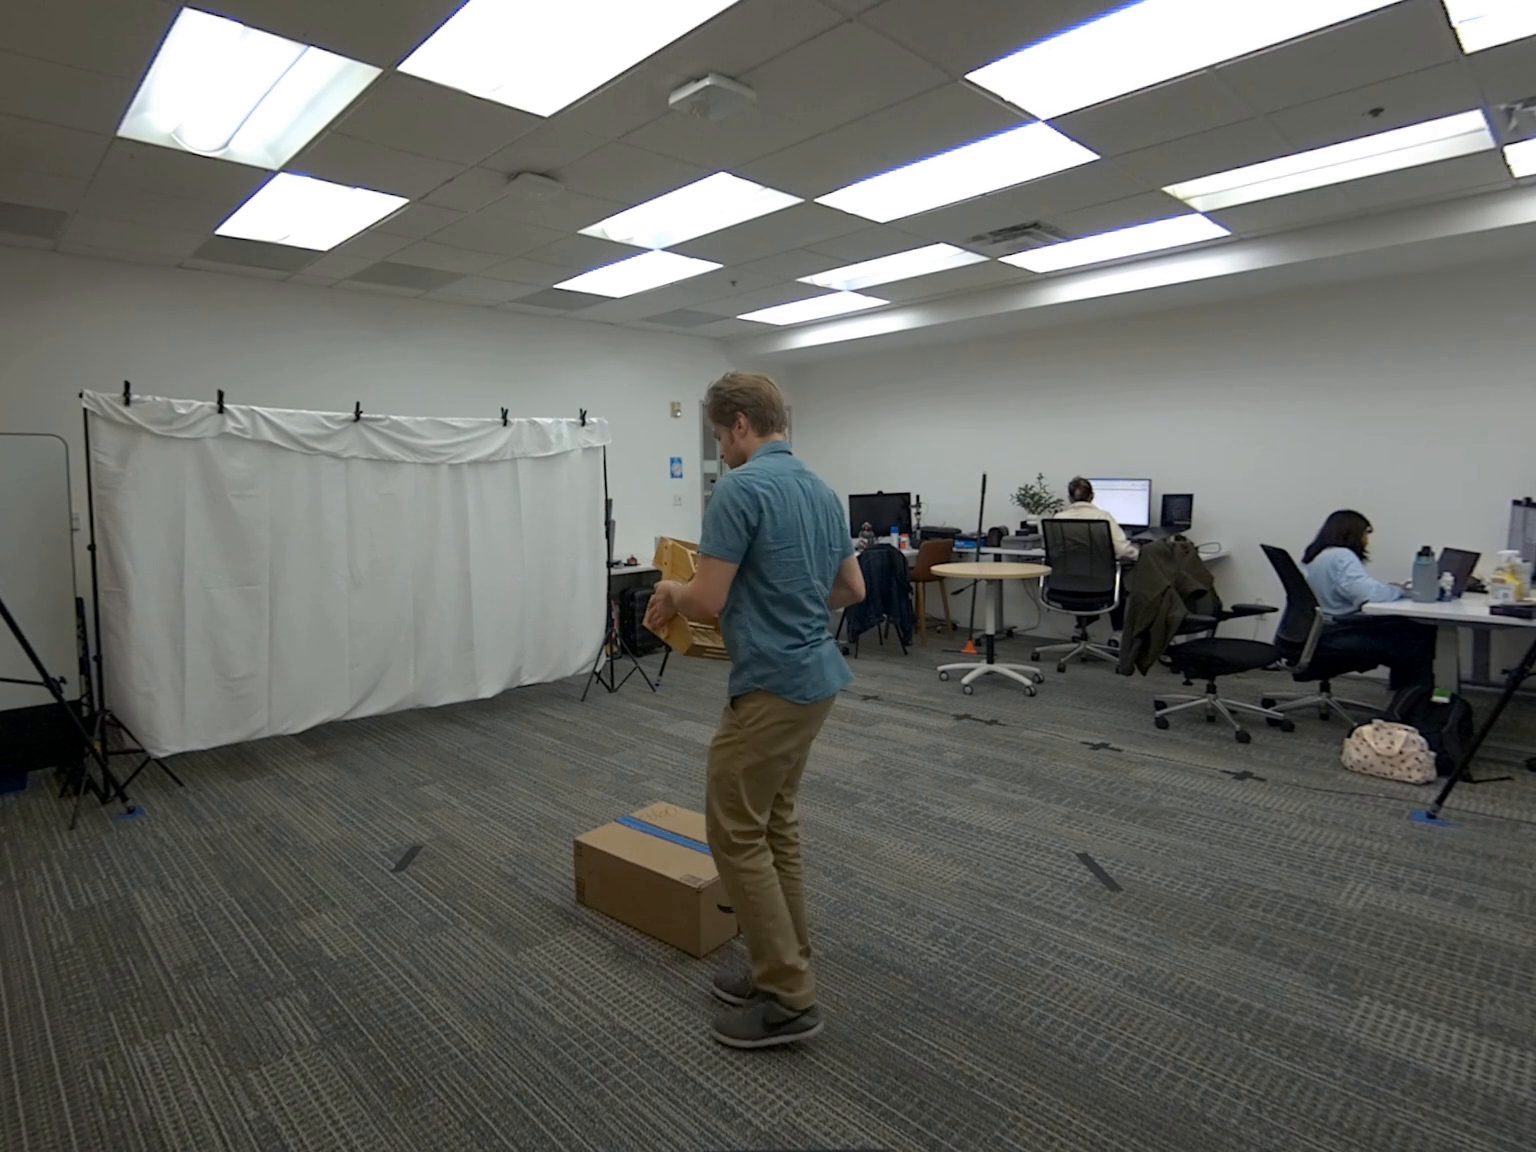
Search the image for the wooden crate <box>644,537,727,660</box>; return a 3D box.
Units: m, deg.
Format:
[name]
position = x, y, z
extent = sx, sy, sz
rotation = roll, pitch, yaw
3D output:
[wooden crate]
position = -0.146, 0.071, 2.468
extent = 0.314, 0.272, 0.313
rotation = 13, 9, -39
